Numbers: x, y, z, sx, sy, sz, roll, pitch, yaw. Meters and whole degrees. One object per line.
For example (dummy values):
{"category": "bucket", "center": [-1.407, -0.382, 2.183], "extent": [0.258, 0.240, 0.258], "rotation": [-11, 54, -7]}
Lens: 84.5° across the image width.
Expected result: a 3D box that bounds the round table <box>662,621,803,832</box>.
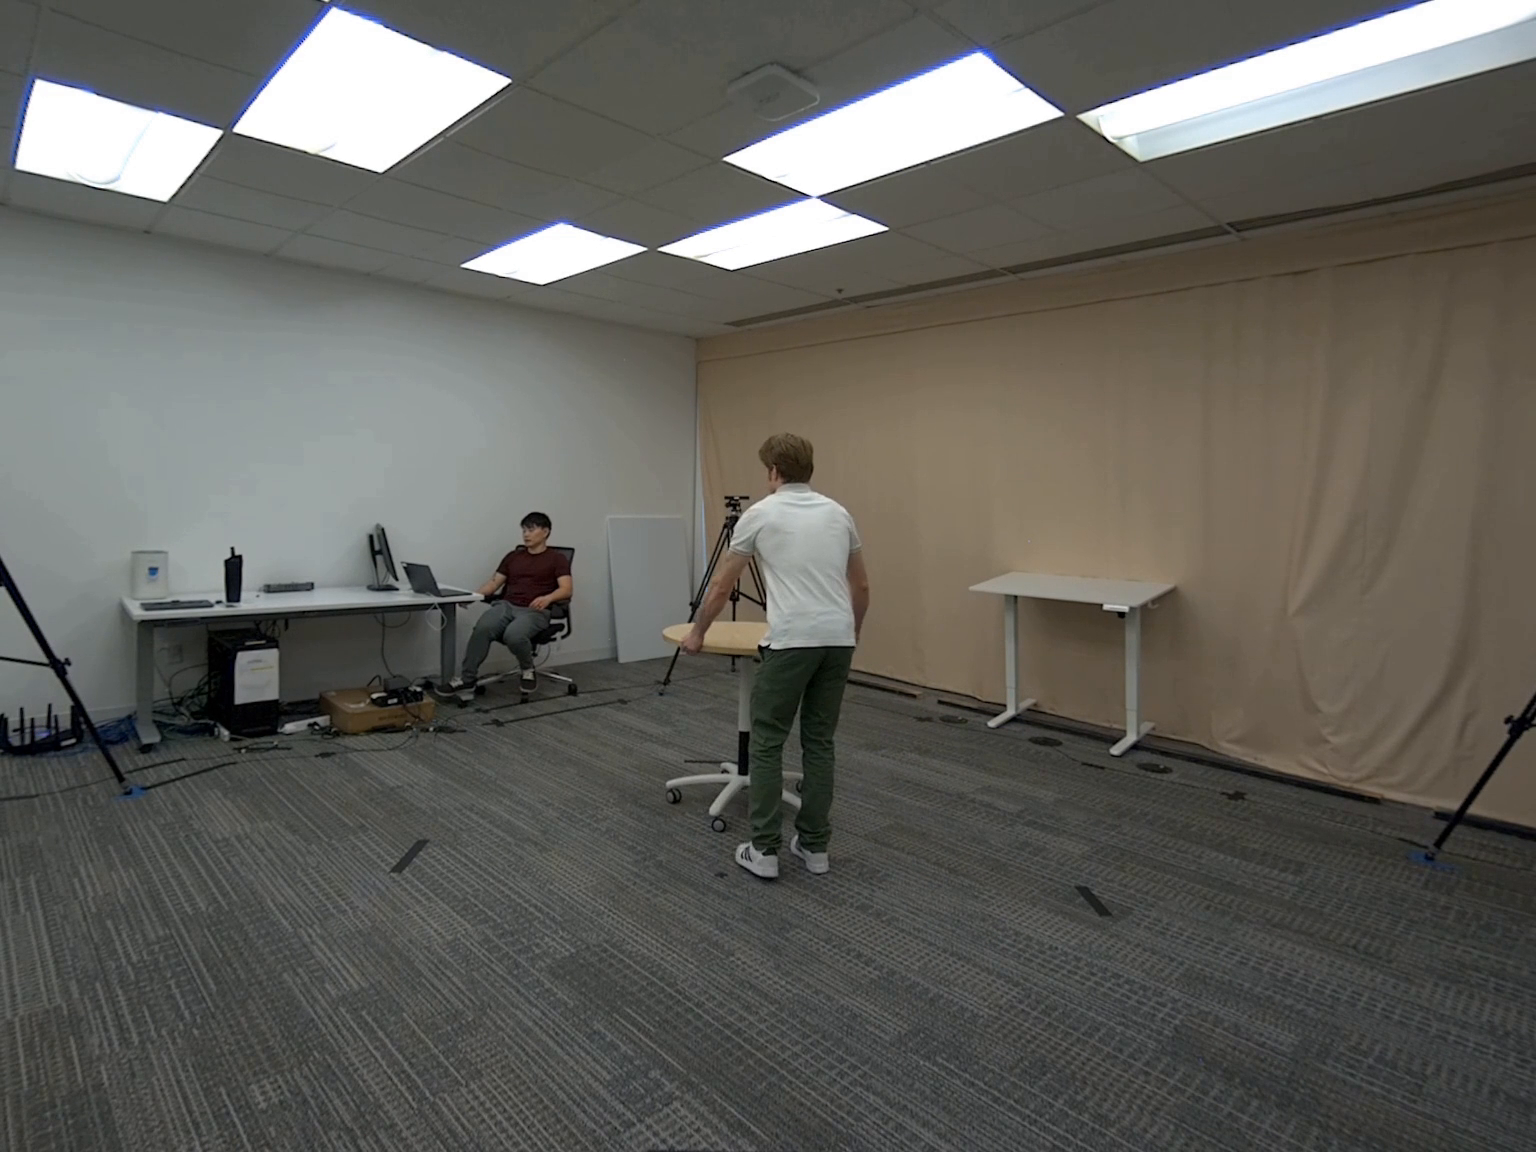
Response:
{"category": "round table", "center": [-0.109, 0.652, 3.815], "extent": [0.763, 0.792, 0.766], "rotation": [1, 4, -1]}
